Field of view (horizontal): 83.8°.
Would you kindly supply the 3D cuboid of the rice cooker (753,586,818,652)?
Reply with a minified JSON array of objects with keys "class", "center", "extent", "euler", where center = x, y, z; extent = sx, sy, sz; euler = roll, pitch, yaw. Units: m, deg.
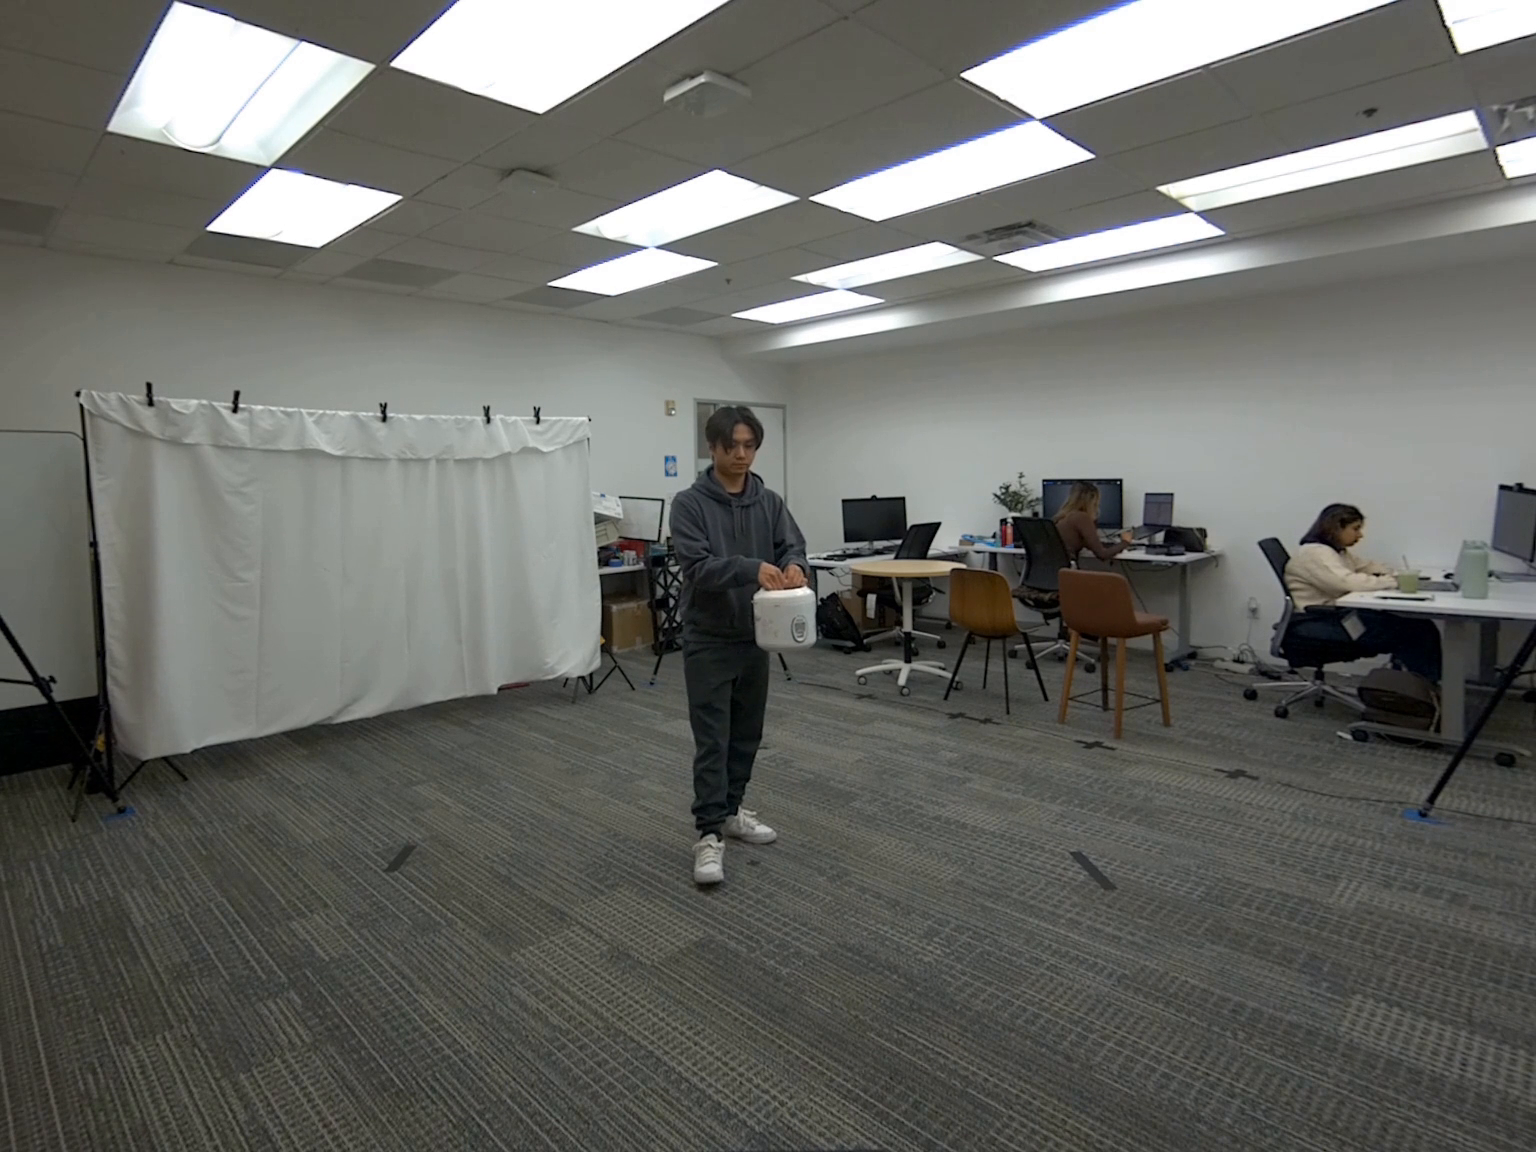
[{"class":"rice cooker","center":[0.063,0.131,2.894],"extent":[0.217,0.232,0.222],"euler":[-6,3,-22]}]
